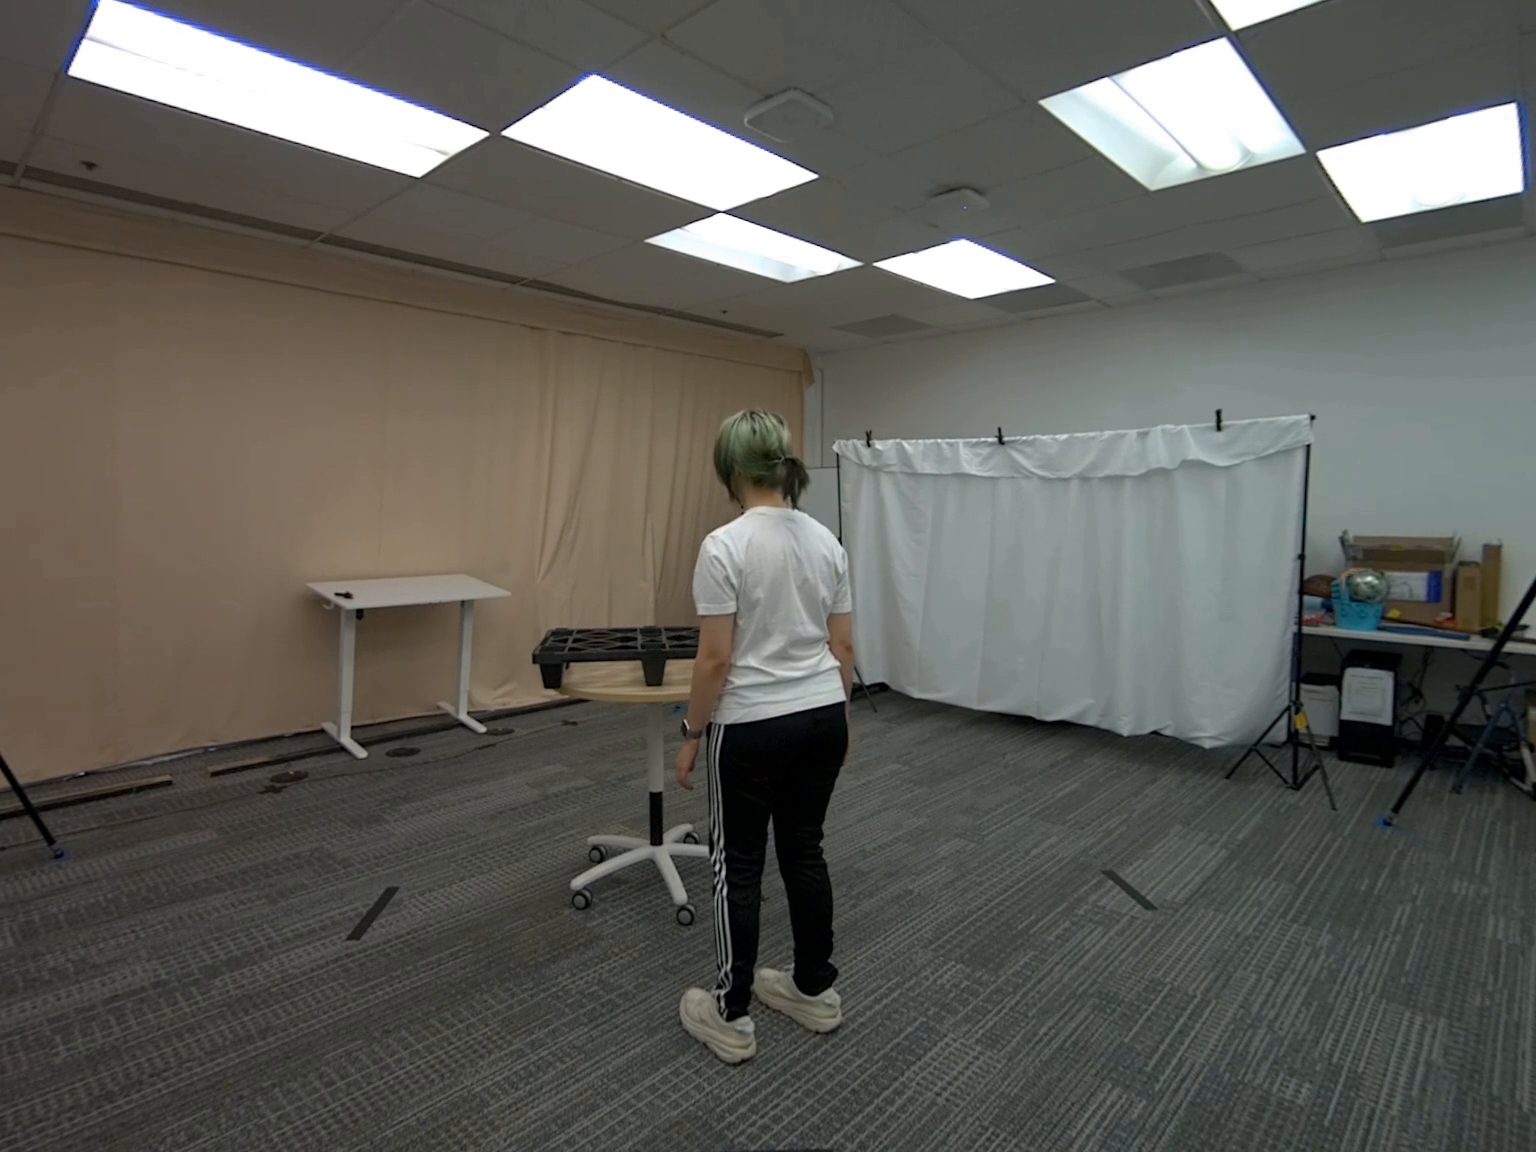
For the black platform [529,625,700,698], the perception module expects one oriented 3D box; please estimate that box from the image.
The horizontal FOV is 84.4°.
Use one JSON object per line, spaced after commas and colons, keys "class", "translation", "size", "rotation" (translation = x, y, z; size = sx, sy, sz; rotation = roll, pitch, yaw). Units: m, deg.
{"class": "black platform", "translation": [-0.417, 0.291, 3.064], "size": [0.800, 0.143, 0.610], "rotation": [-1, 4, -7]}
